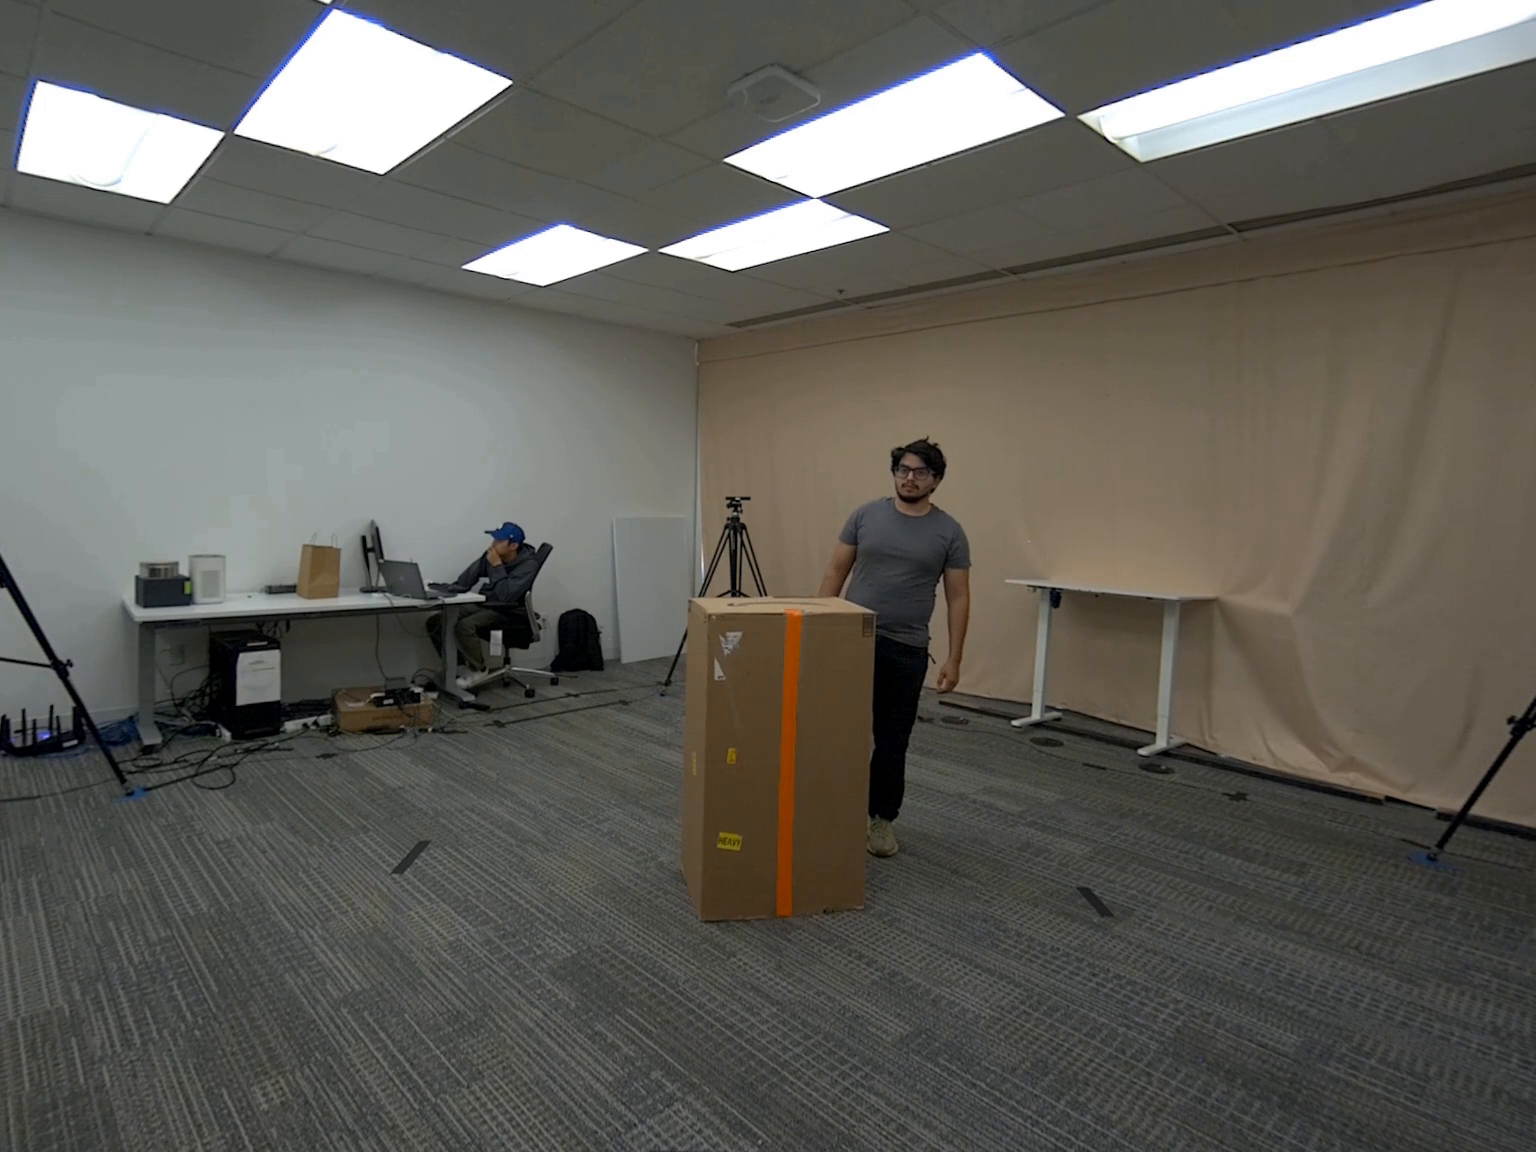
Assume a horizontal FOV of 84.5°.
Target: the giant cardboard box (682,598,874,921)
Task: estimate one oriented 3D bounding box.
[{"bbox_3d":[0.011,0.610,2.987,0.577,1.025,0.453,1,3,-14],"label":"giant cardboard box"}]
